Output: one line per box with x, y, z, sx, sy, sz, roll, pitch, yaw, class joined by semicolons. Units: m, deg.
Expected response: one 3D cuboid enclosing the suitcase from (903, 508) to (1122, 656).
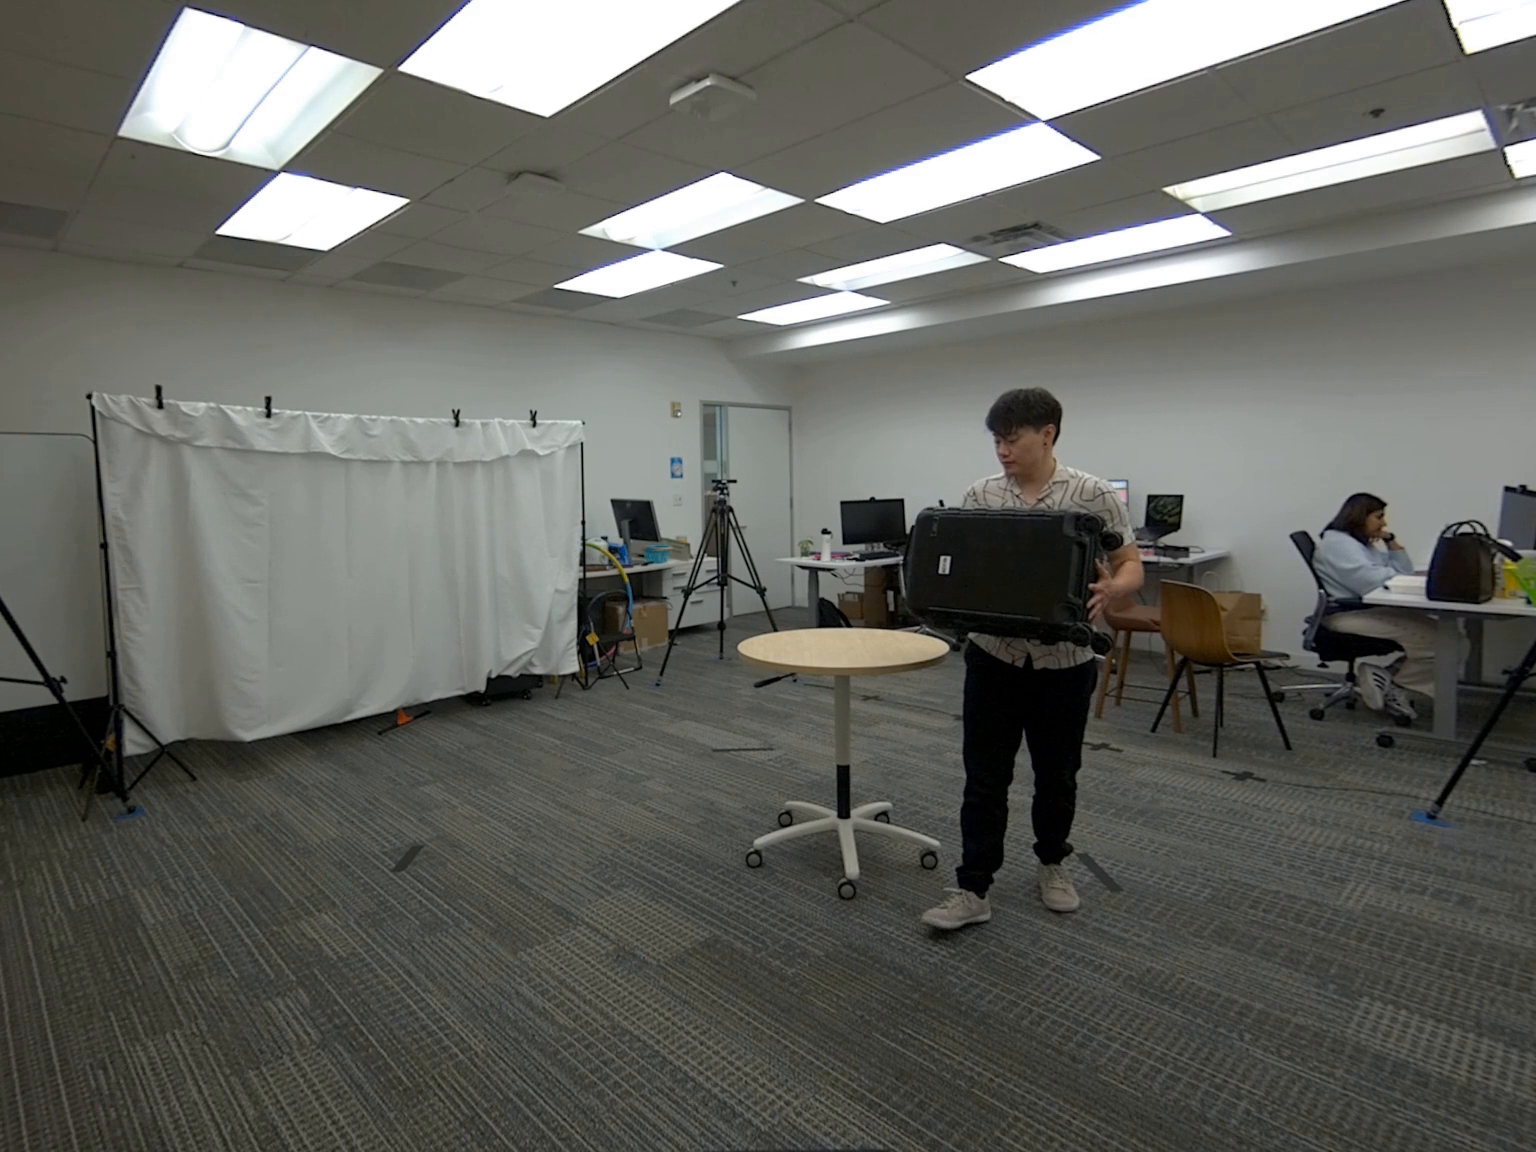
0.686;-0.018;2.449;0.566;0.377;0.239;6;-8;38;suitcase
